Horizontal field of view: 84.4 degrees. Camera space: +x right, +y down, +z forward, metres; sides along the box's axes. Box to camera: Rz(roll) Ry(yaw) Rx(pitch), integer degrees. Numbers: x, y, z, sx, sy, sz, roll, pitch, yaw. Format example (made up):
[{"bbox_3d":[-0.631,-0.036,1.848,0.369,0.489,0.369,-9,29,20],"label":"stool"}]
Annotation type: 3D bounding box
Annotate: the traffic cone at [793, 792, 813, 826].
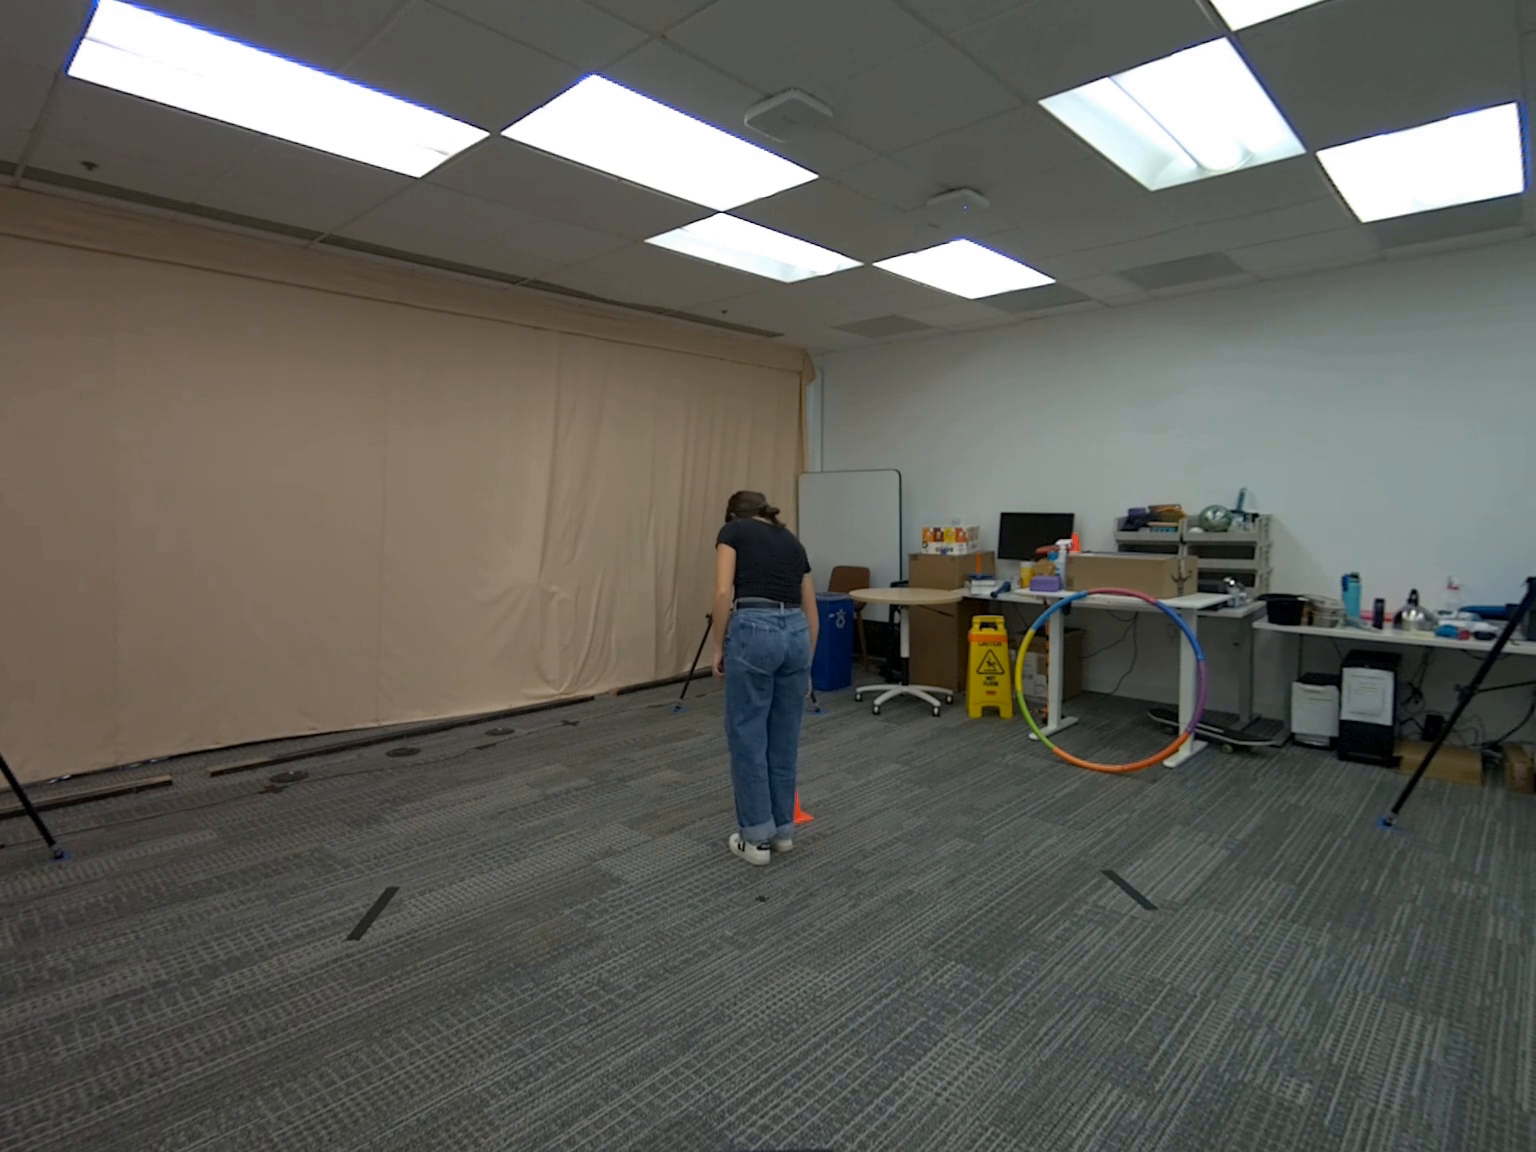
[{"bbox_3d":[0.082,0.892,3.770,0.199,0.383,0.209,0,4,-32],"label":"traffic cone"}]
